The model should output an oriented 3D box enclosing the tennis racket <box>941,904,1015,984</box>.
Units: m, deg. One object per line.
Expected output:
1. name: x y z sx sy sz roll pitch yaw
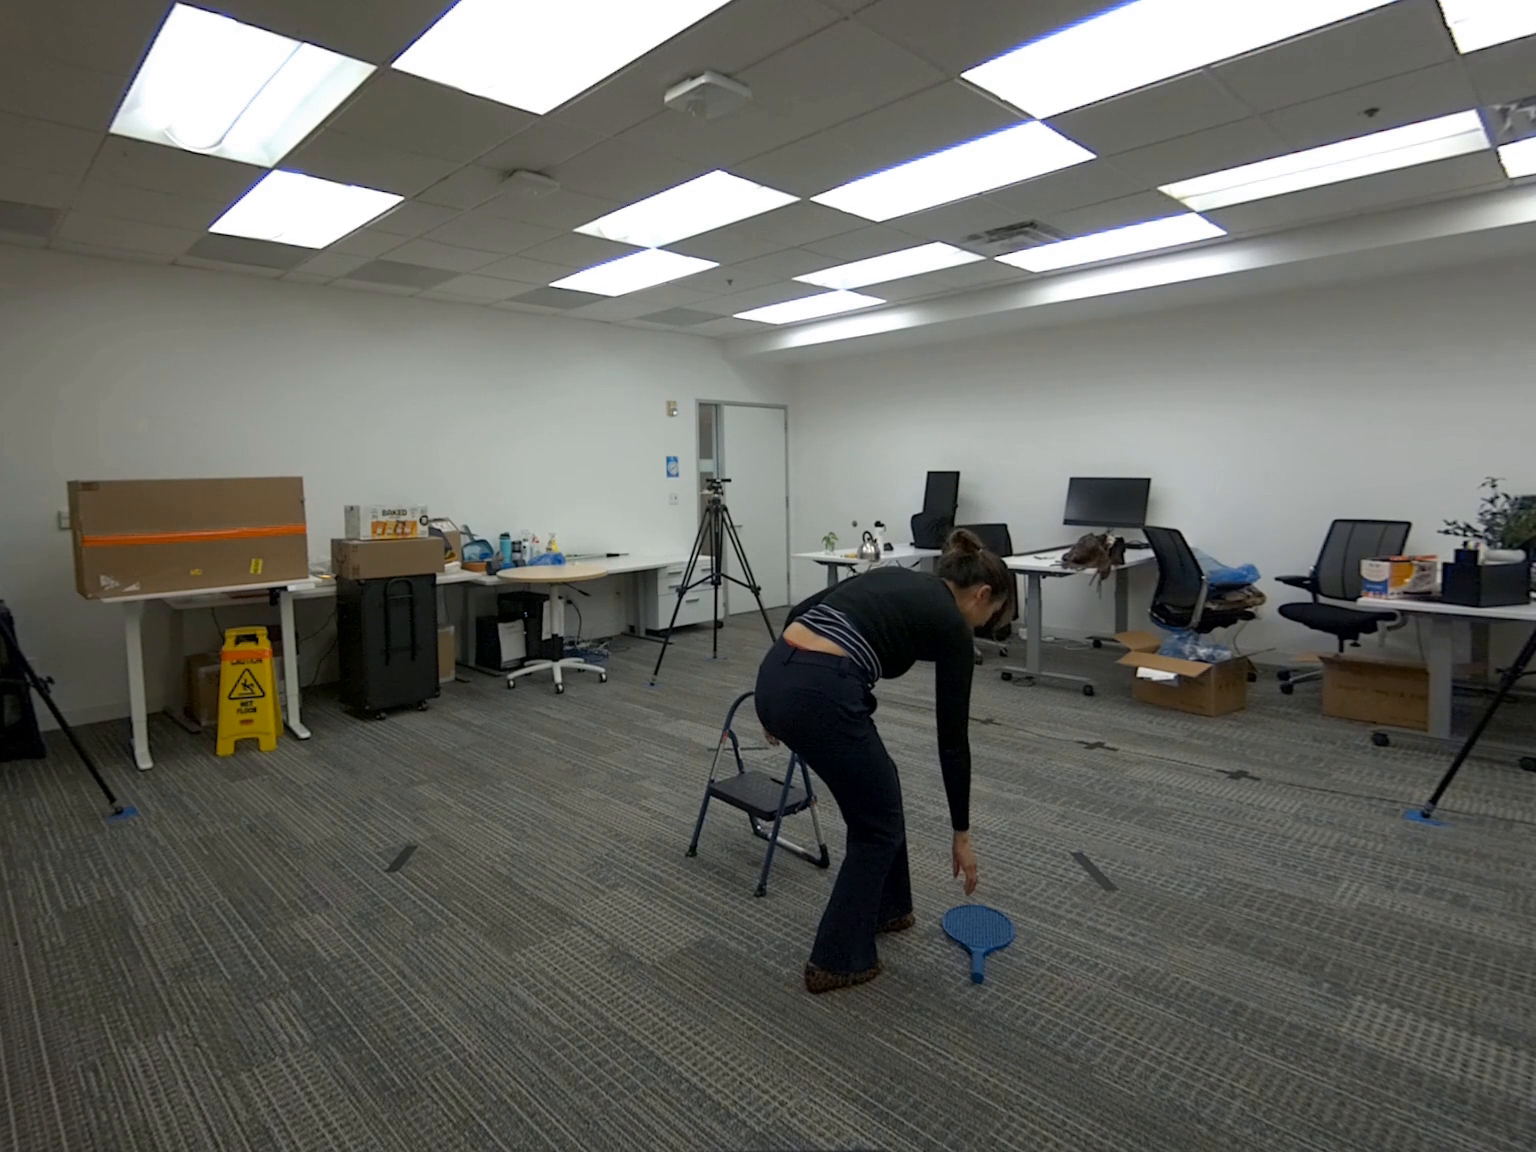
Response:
1. tennis racket: 0.633 1.083 2.551 0.217 0.031 0.428 1 6 14
